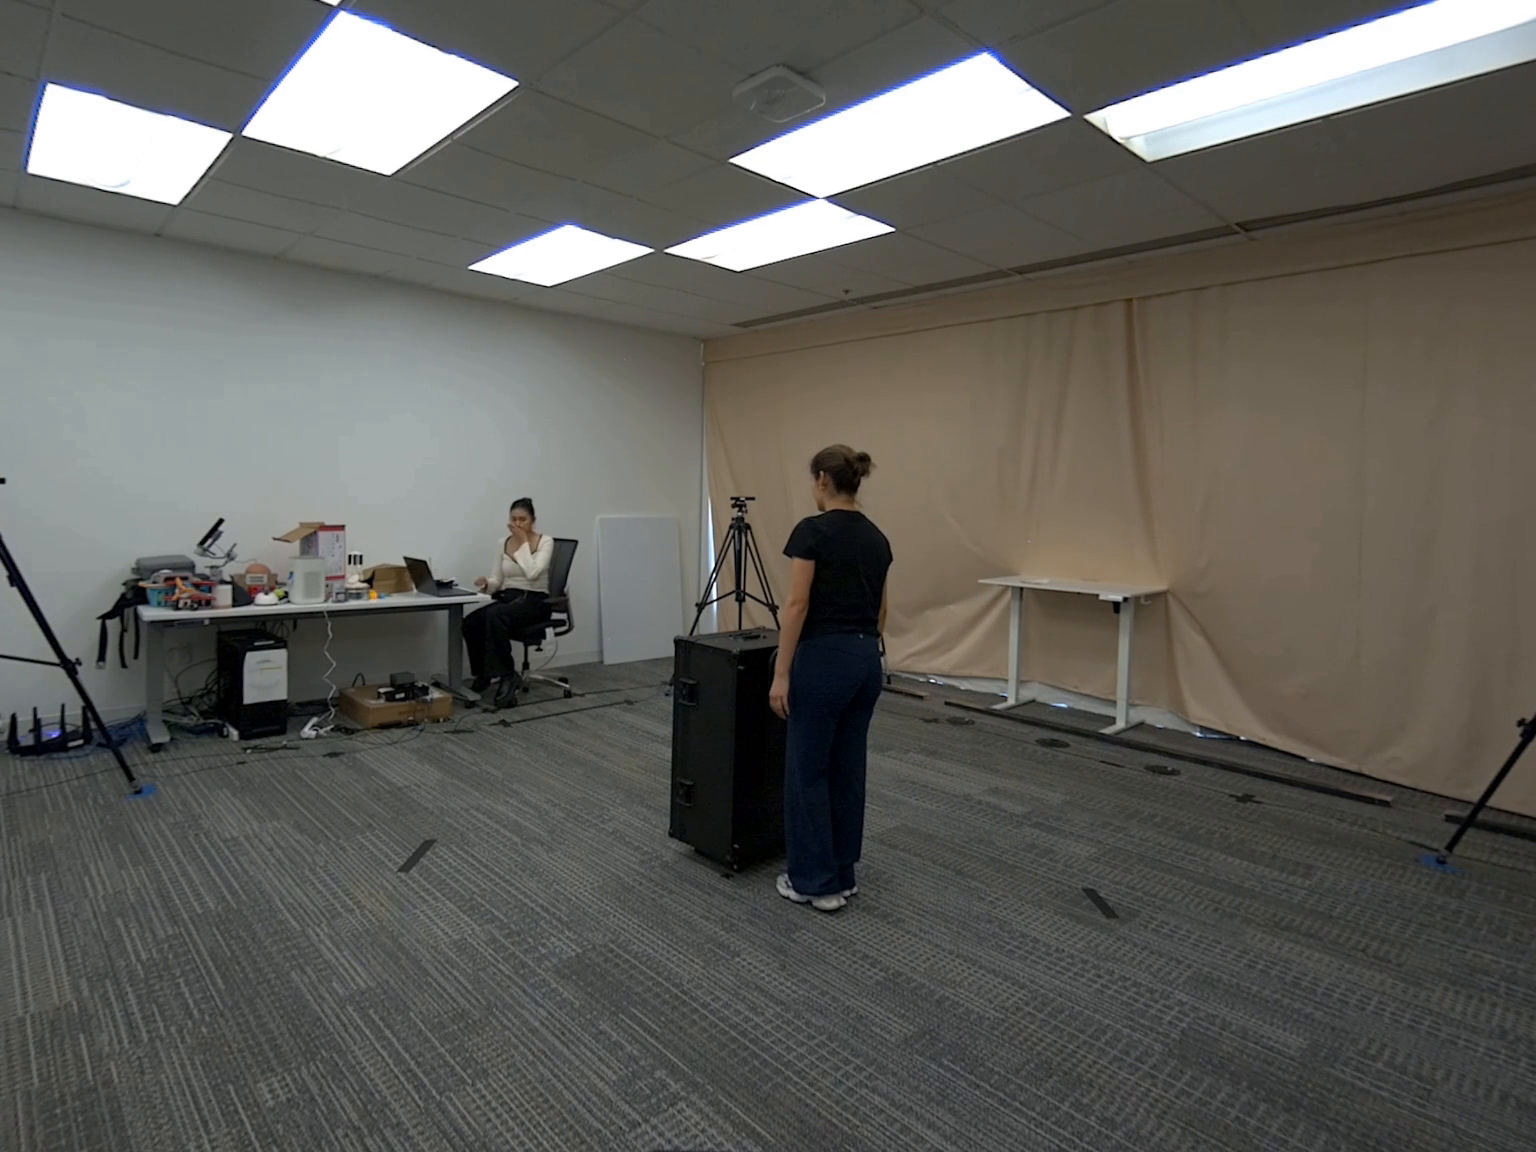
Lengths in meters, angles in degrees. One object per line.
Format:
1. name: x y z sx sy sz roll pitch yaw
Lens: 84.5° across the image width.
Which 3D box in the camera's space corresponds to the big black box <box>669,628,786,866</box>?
1. big black box: -0.076 0.668 3.282 0.406 0.859 0.509 6 5 45
